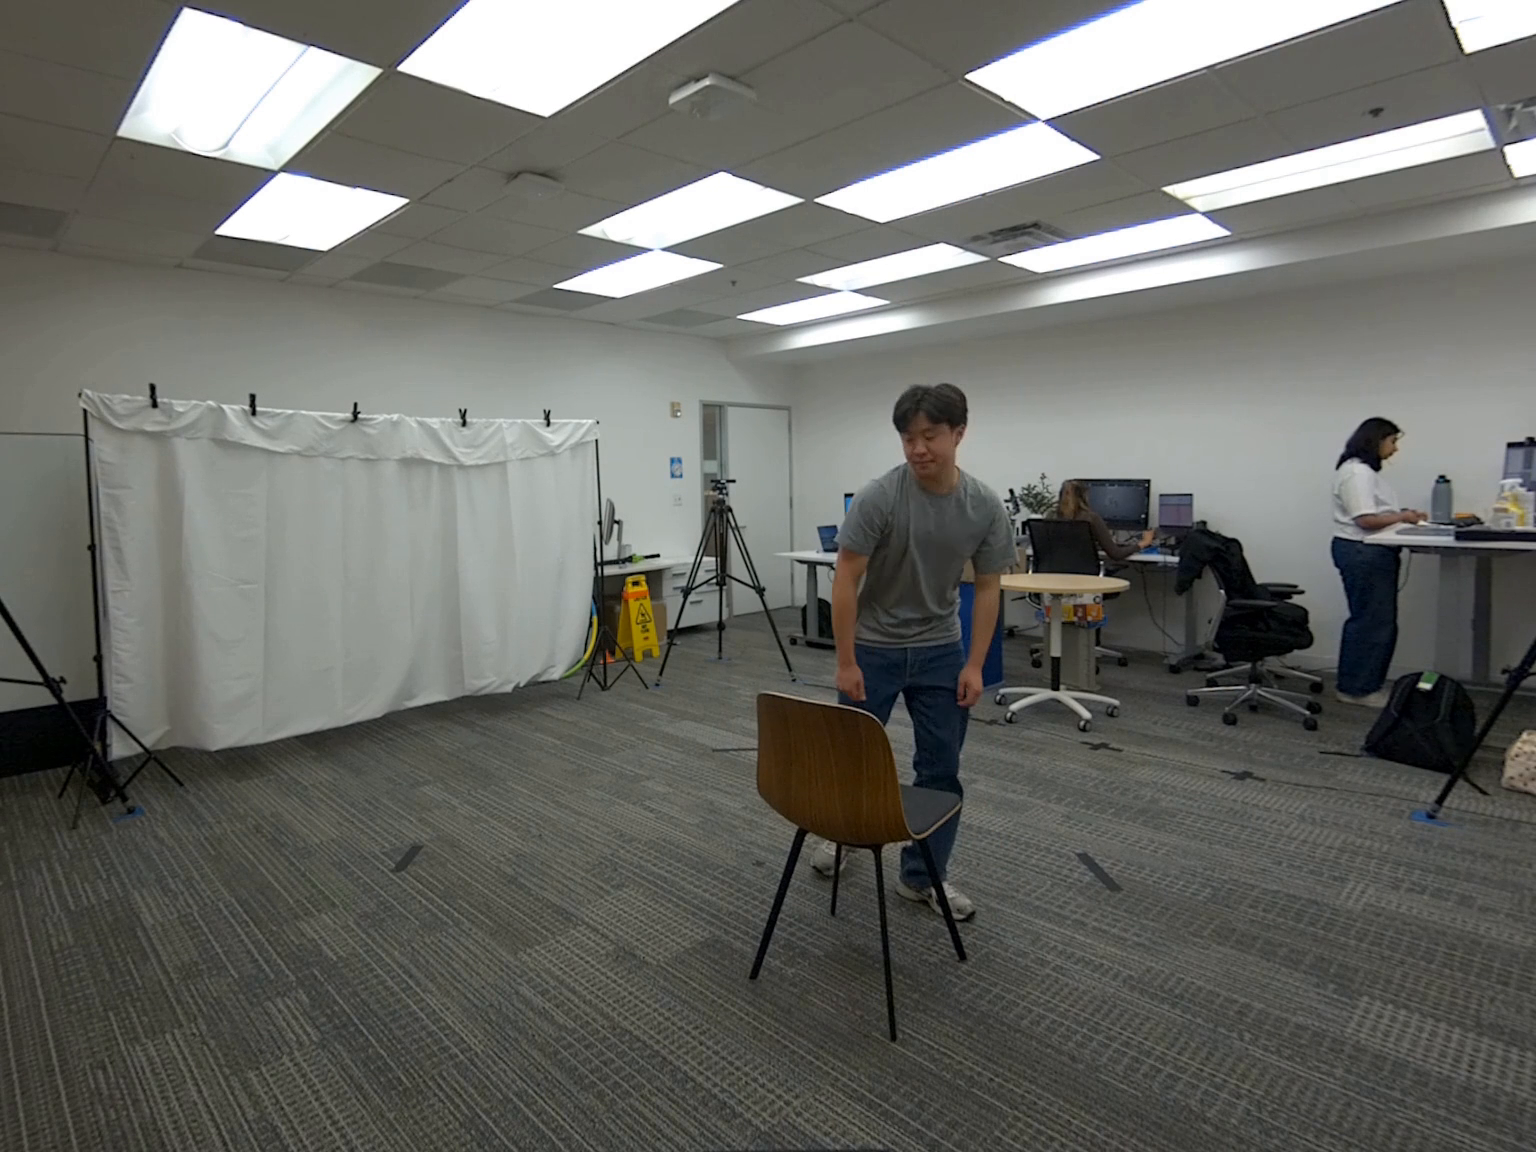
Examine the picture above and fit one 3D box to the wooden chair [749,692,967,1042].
[{"bbox_3d":[0.261,0.699,2.397,0.492,0.871,0.512,2,9,37],"label":"wooden chair"}]
